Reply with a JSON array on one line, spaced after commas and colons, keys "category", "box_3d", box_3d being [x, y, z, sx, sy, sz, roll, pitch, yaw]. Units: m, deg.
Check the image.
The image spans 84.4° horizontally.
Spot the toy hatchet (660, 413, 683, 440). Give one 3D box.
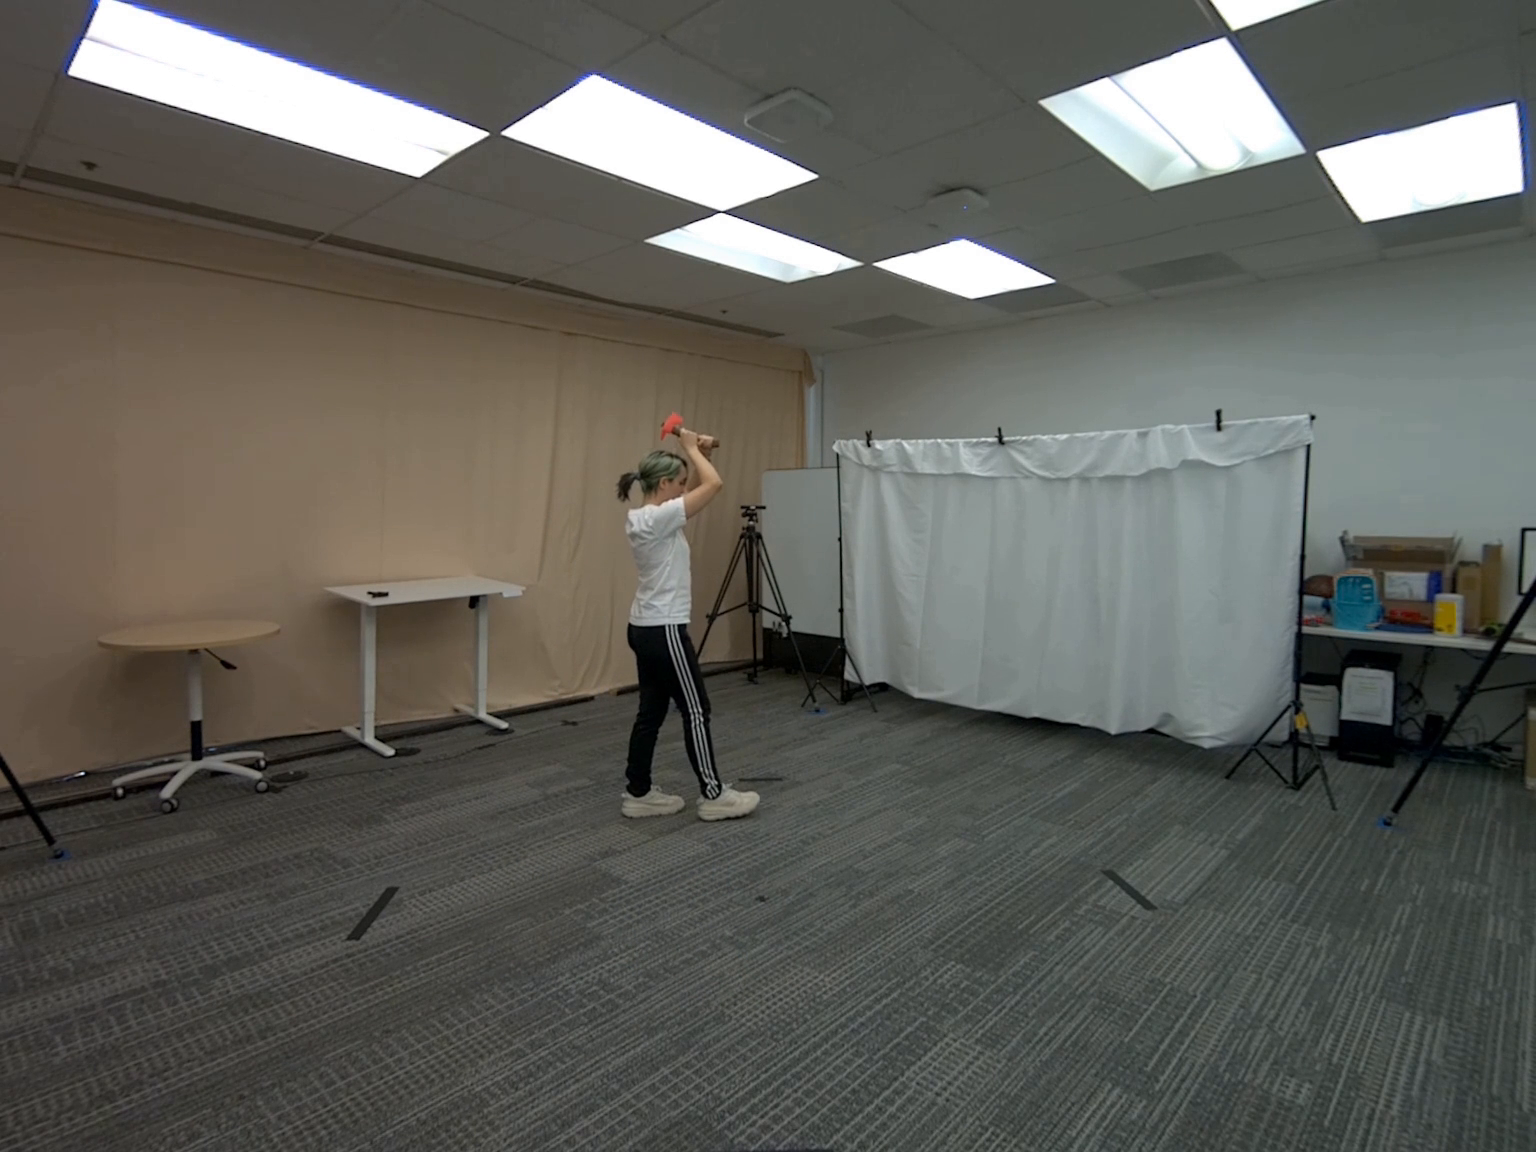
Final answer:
[{"category": "toy hatchet", "box_3d": [-0.338, -0.659, 3.779, 0.268, 0.131, 0.030, 5, -1, -7]}]
